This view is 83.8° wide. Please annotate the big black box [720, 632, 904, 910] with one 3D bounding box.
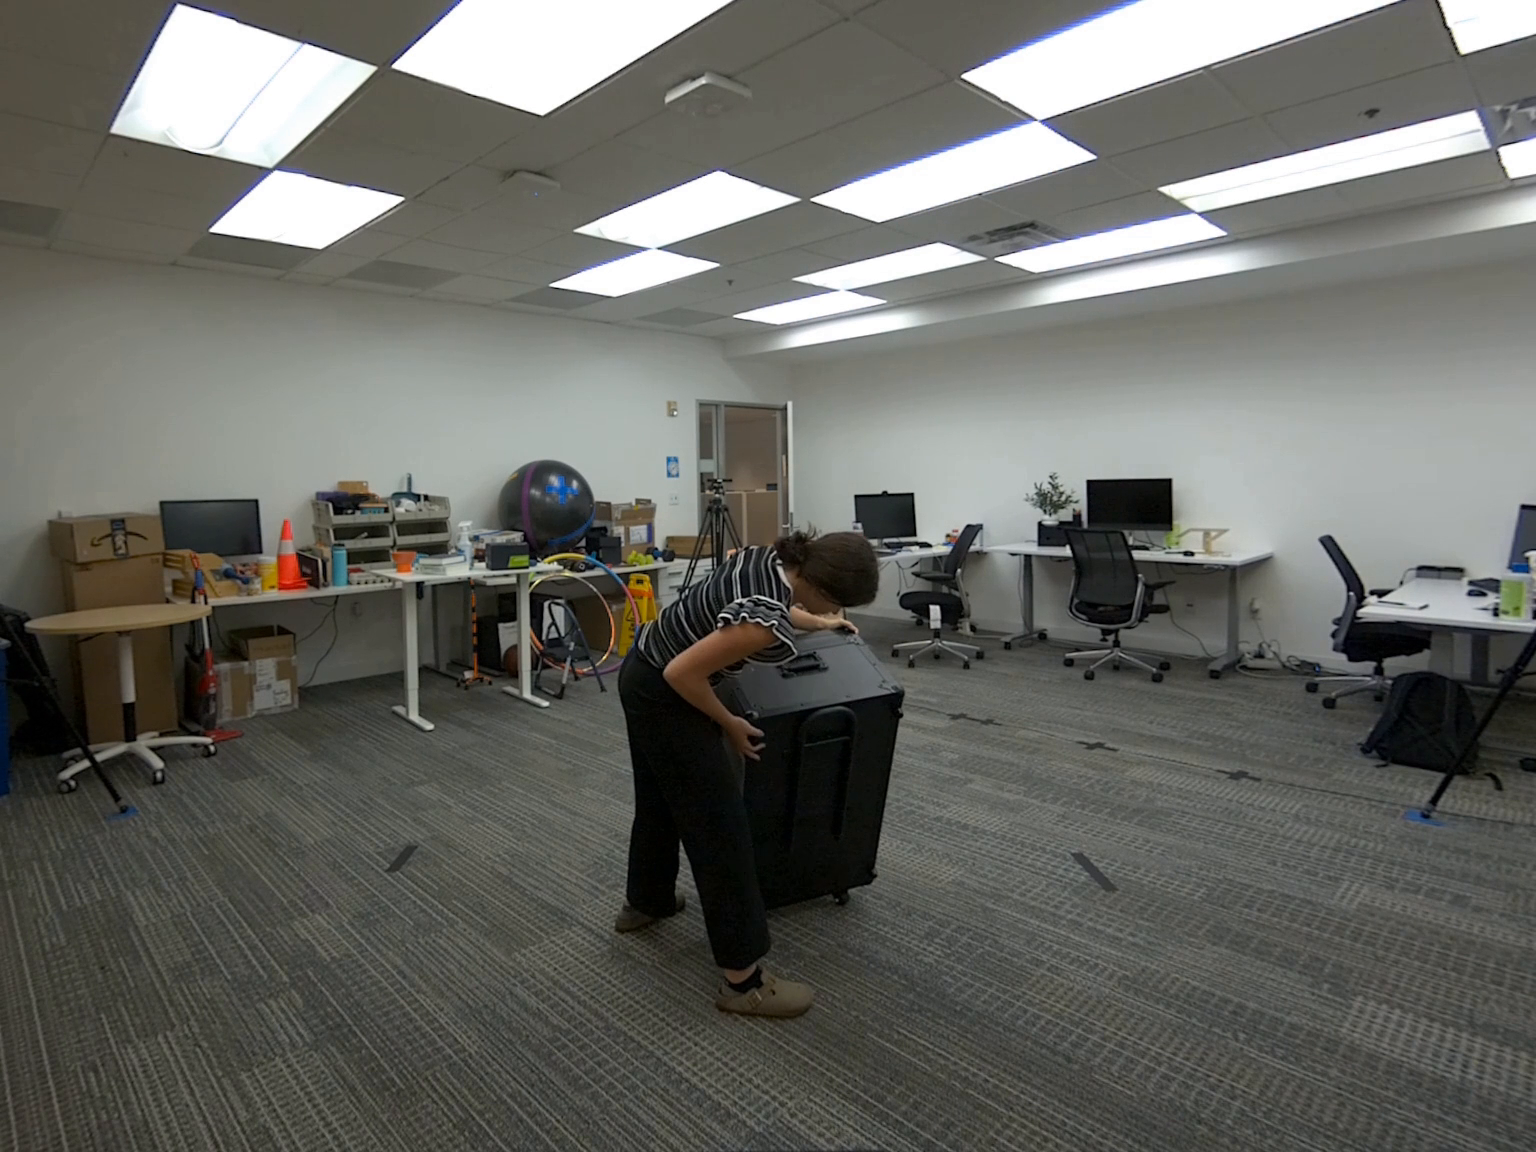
[{"bbox_3d":[0.090,0.646,2.704,0.513,0.843,0.411,-7,31,-20],"label":"big black box"}]
